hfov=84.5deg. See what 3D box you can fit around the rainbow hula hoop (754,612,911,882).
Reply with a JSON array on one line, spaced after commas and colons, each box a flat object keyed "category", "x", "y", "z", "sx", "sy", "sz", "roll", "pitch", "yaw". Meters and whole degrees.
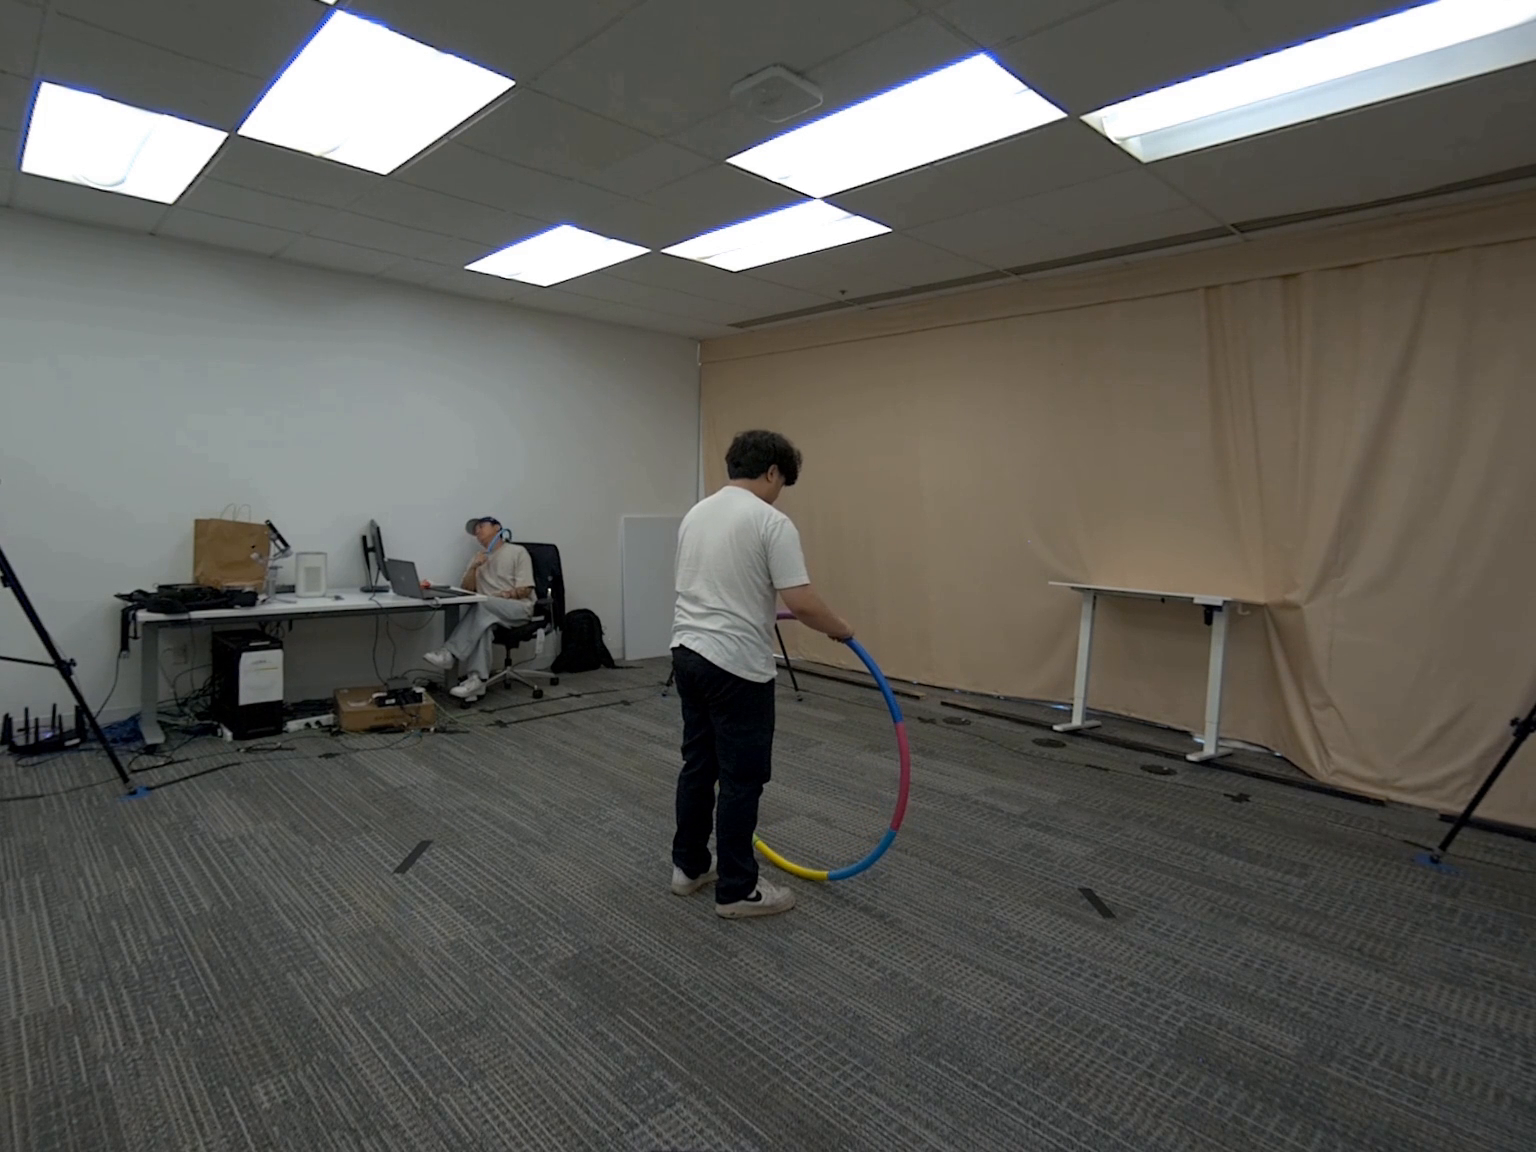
[{"category": "rainbow hula hoop", "x": 0.101, "y": 0.620, "z": 3.119, "sx": 0.050, "sy": 0.983, "sz": 1.011, "roll": -2, "pitch": 5, "yaw": -44}]
